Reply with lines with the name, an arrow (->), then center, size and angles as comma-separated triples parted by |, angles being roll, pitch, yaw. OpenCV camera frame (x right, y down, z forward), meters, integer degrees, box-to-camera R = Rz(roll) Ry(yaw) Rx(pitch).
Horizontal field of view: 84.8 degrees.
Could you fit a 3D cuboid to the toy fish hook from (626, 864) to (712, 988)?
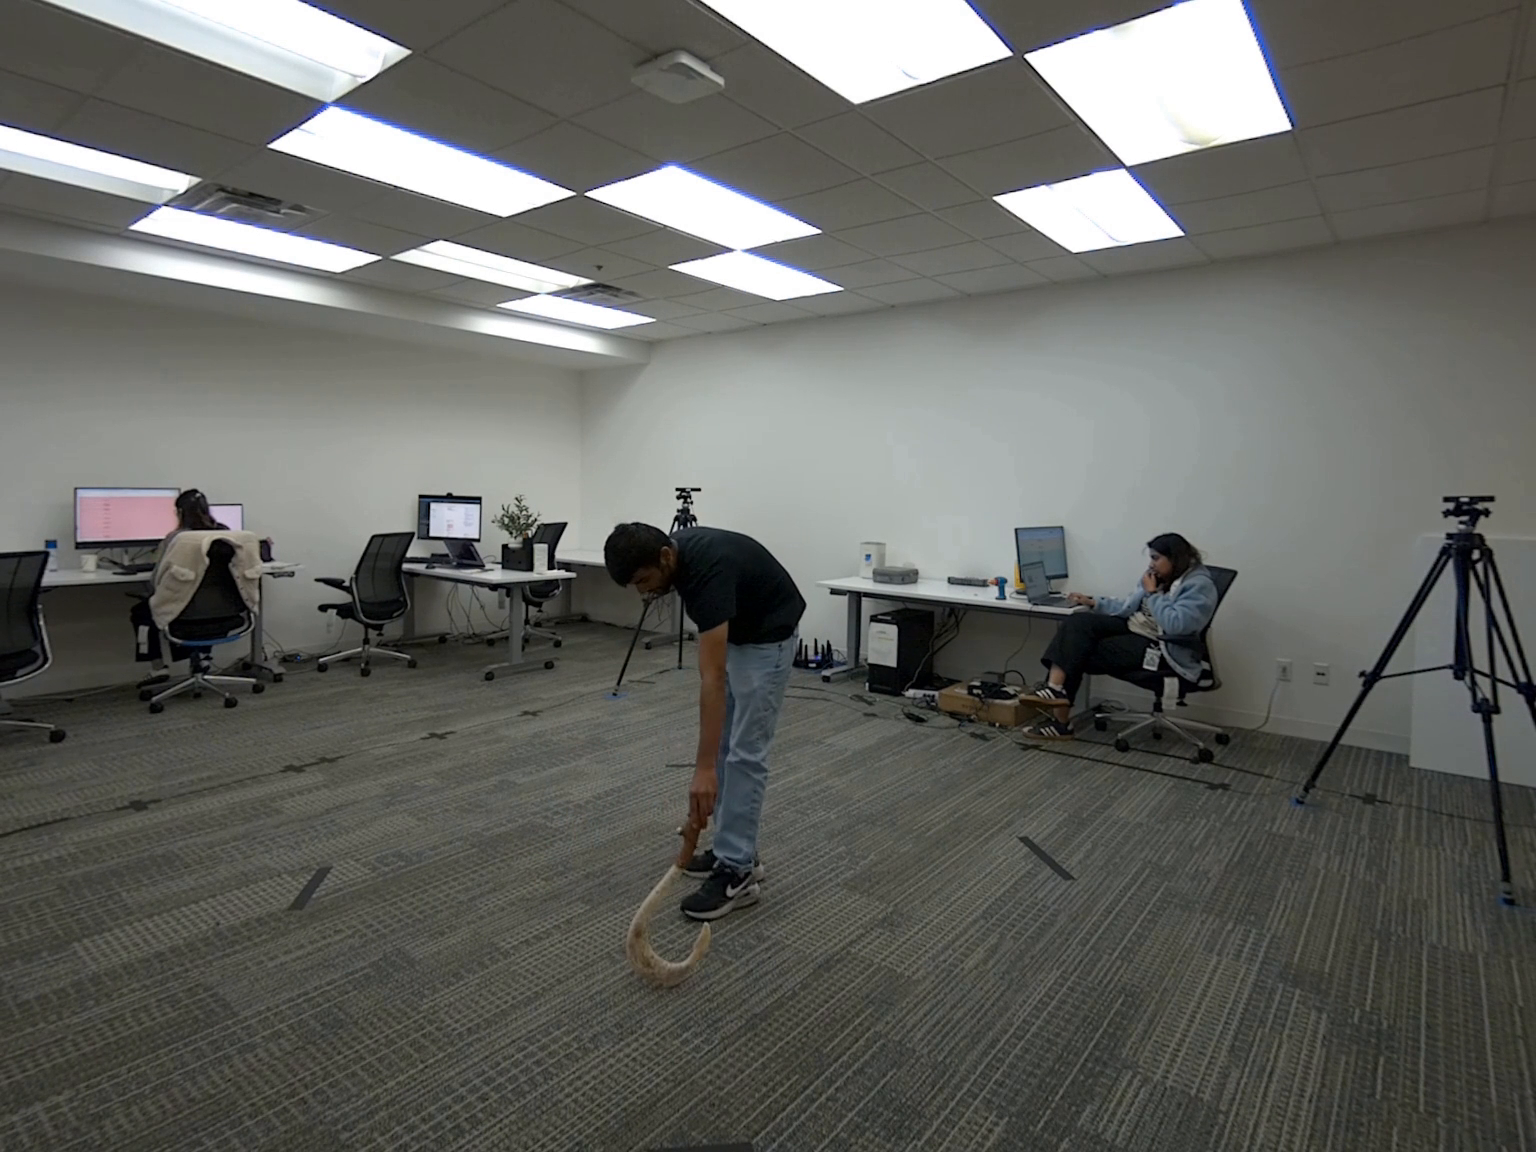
toy fish hook -> -0.238, 0.897, 2.420 | 0.223, 0.509, 0.048 | 20, -10, -4
